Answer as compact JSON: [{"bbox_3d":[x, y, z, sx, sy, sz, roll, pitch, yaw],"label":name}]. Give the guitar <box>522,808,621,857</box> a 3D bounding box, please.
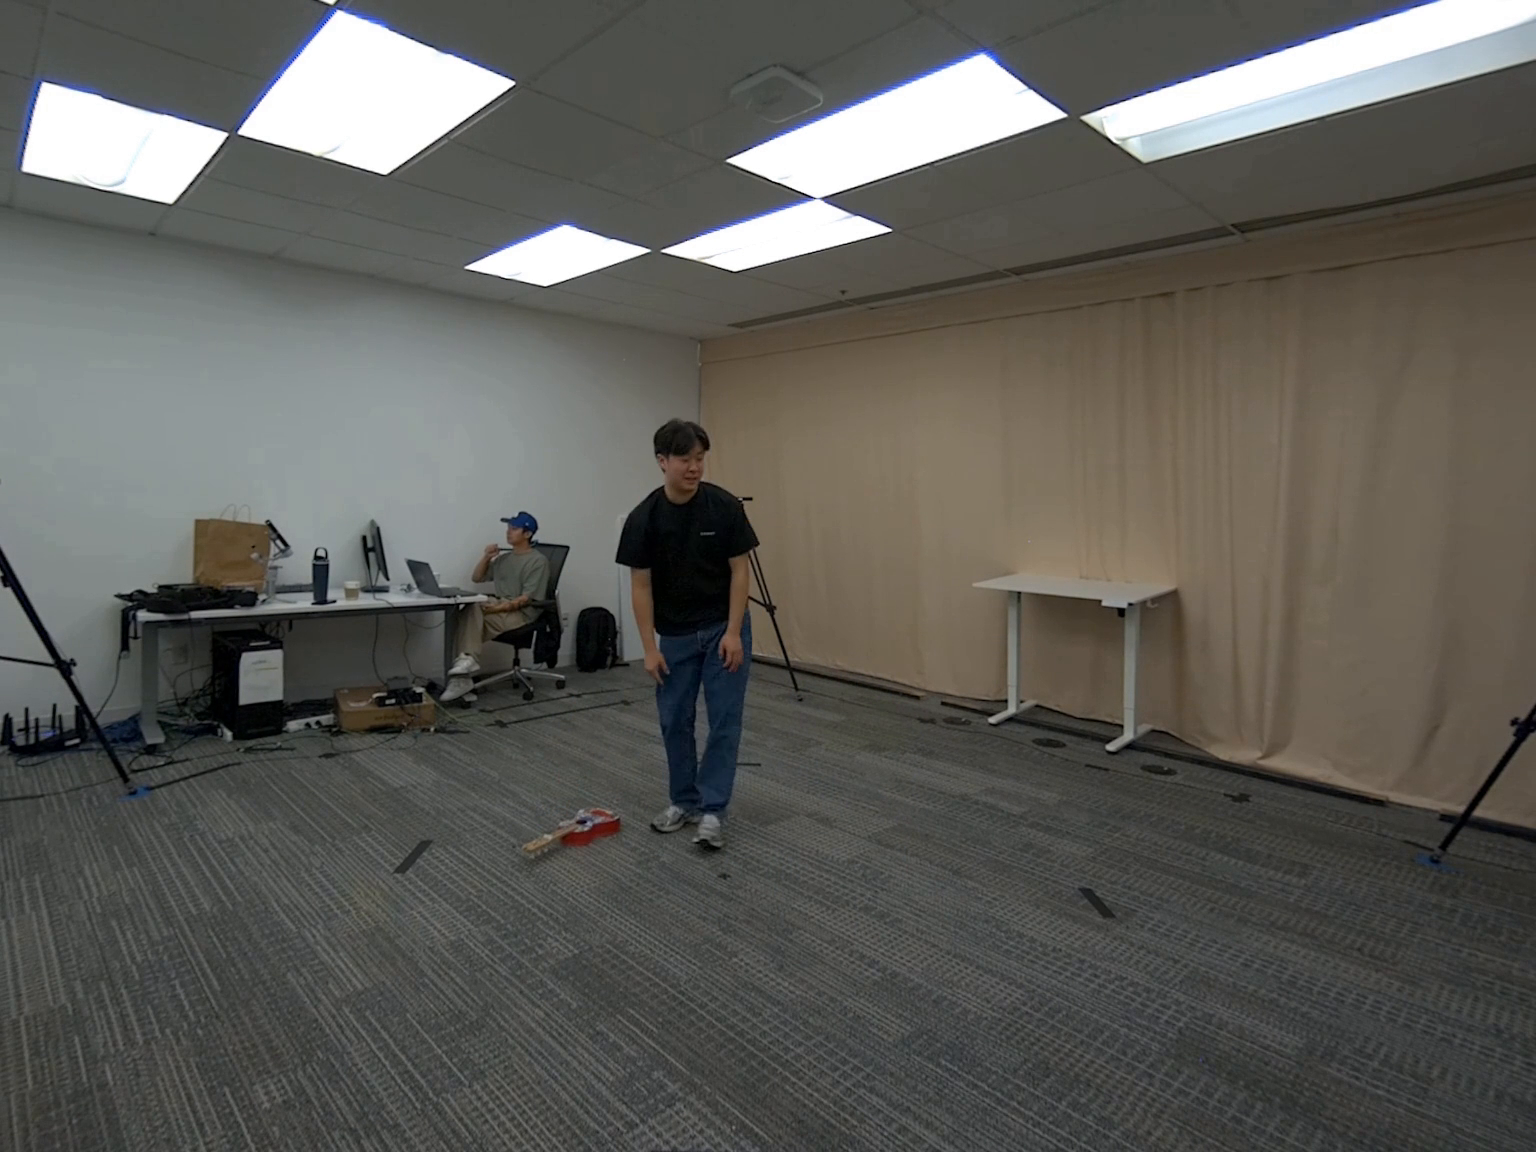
[{"bbox_3d":[-0.829,1.035,3.385,0.198,0.070,0.487,5,6,37],"label":"guitar"}]
